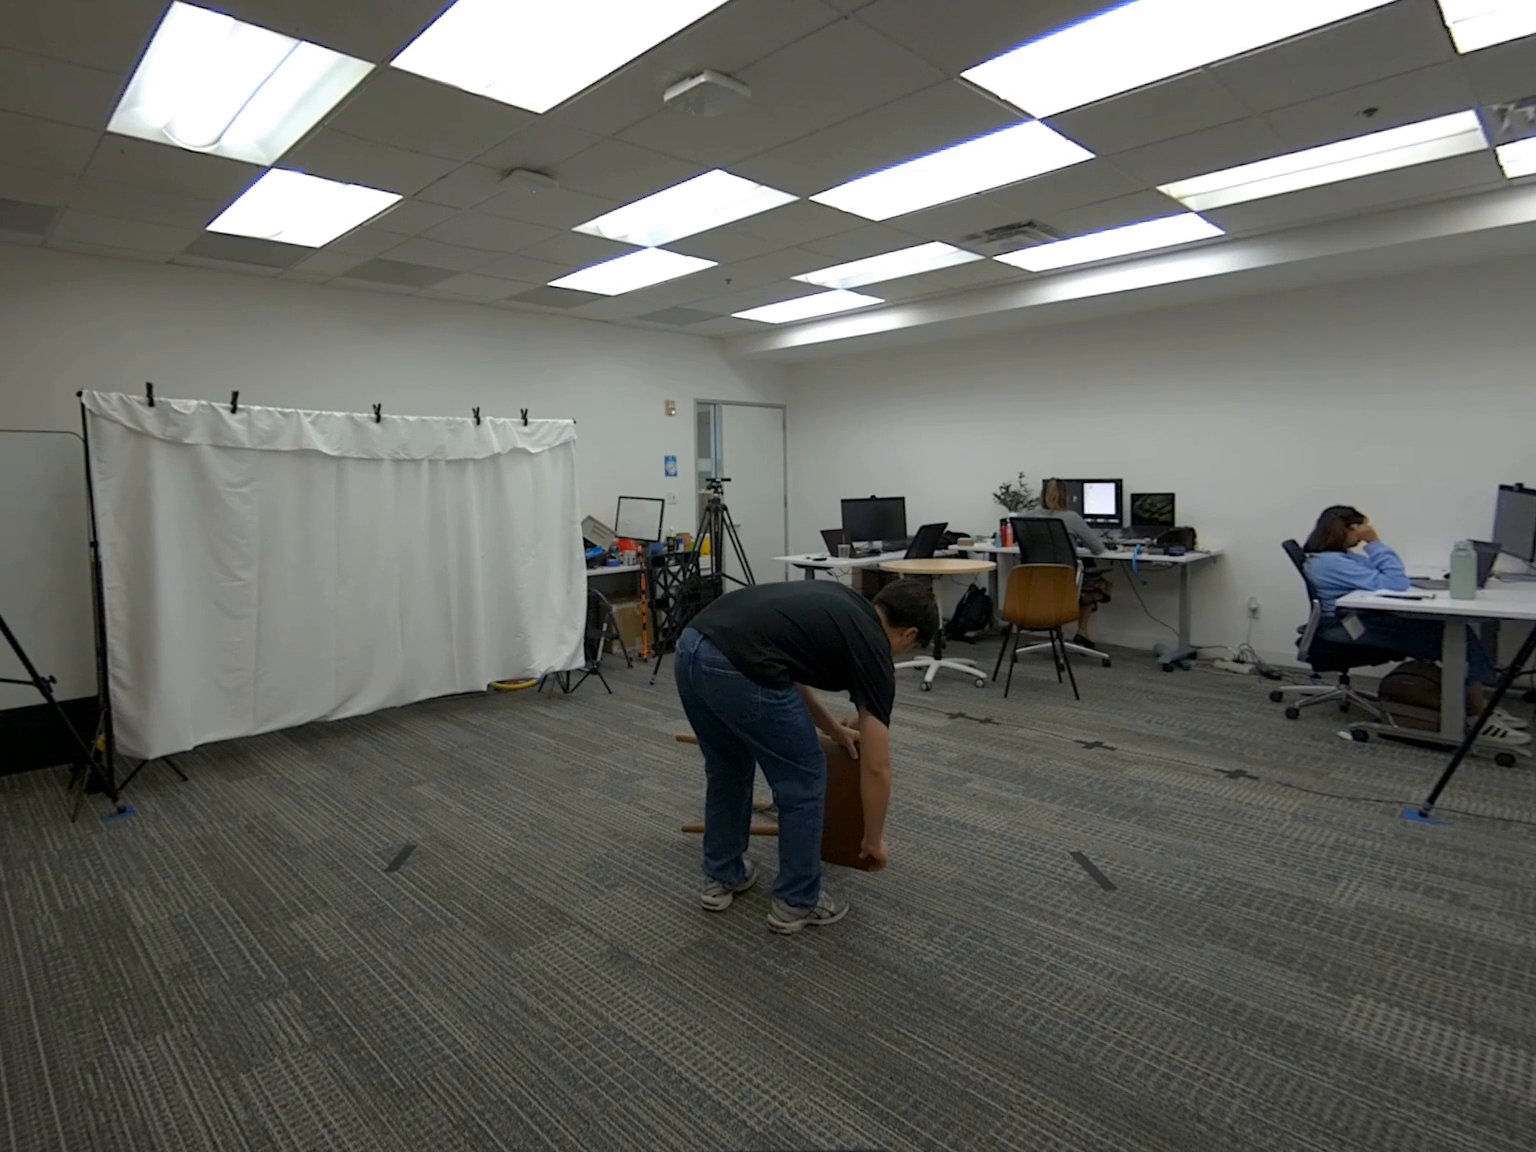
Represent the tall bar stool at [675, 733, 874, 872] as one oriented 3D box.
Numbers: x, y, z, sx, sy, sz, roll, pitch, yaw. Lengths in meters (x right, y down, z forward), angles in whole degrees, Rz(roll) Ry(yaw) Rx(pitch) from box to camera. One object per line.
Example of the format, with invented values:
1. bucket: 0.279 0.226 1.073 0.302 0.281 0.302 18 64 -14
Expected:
1. tall bar stool: 0.129 0.767 3.185 0.913 0.458 0.454 -5 -4 40
